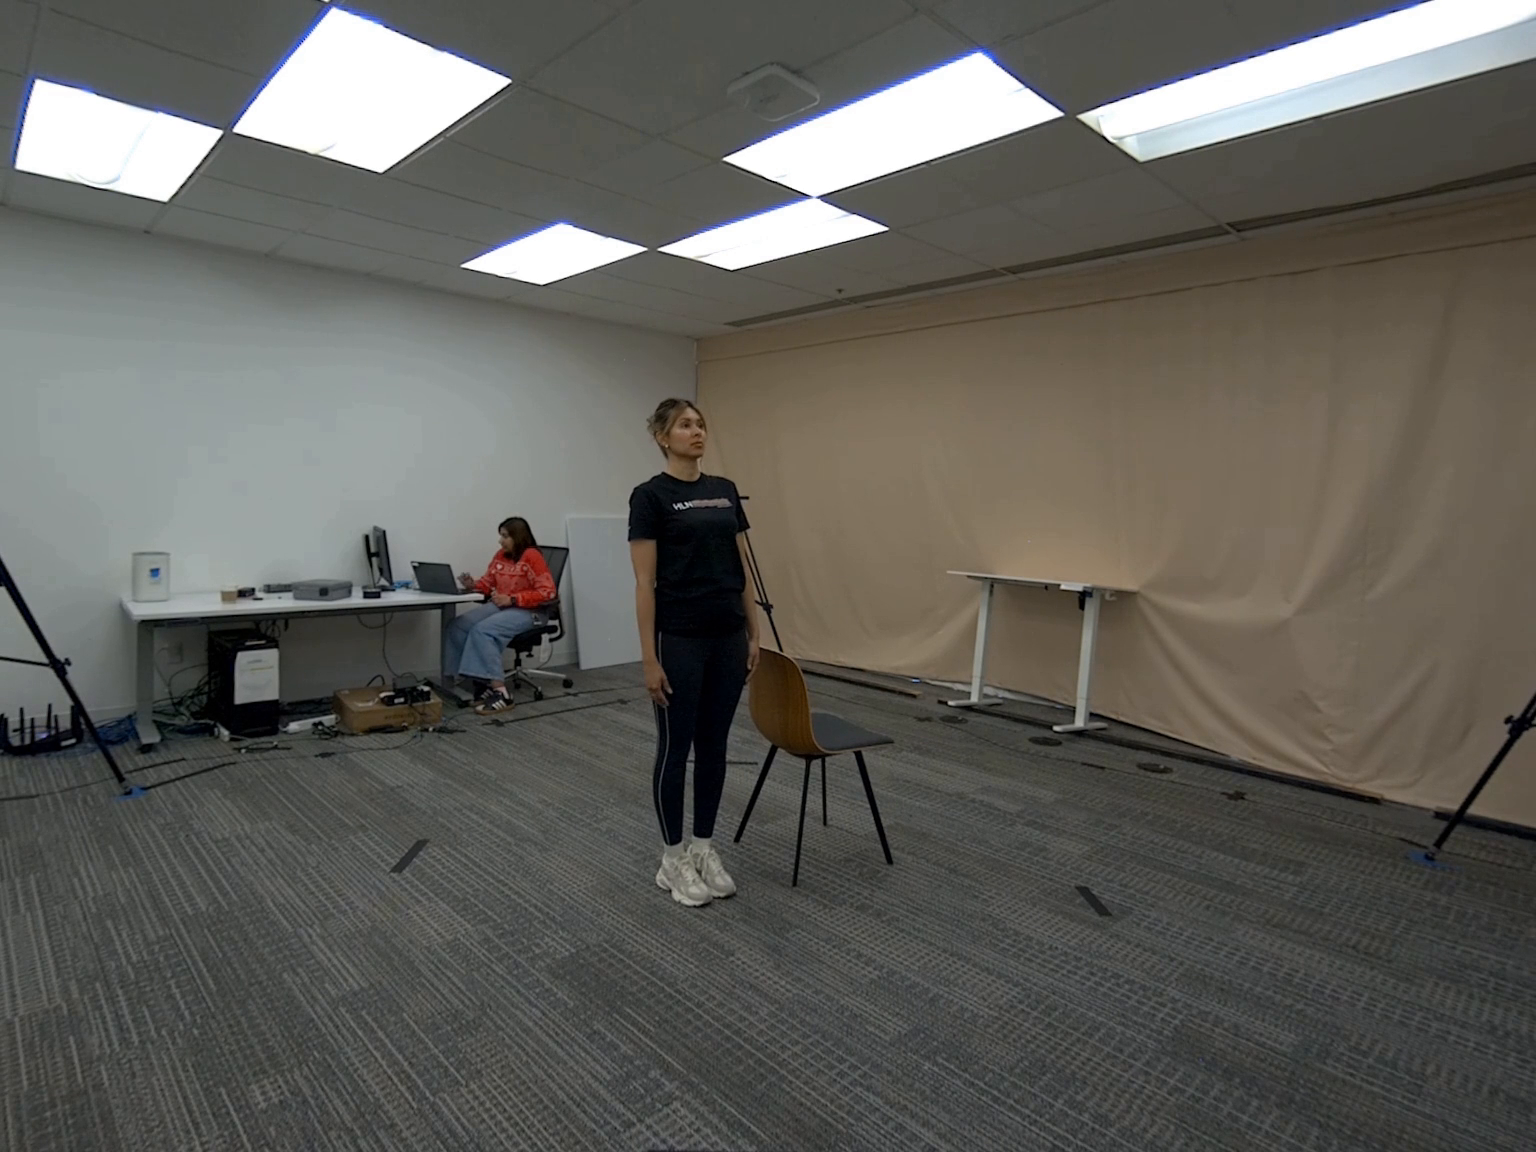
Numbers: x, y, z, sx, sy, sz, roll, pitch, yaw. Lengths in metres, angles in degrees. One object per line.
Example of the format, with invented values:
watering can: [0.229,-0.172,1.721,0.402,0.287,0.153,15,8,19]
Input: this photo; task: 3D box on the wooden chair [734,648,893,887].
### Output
wooden chair: [0.185,0.668,3.299,0.513,0.874,0.489,-5,5,-29]
